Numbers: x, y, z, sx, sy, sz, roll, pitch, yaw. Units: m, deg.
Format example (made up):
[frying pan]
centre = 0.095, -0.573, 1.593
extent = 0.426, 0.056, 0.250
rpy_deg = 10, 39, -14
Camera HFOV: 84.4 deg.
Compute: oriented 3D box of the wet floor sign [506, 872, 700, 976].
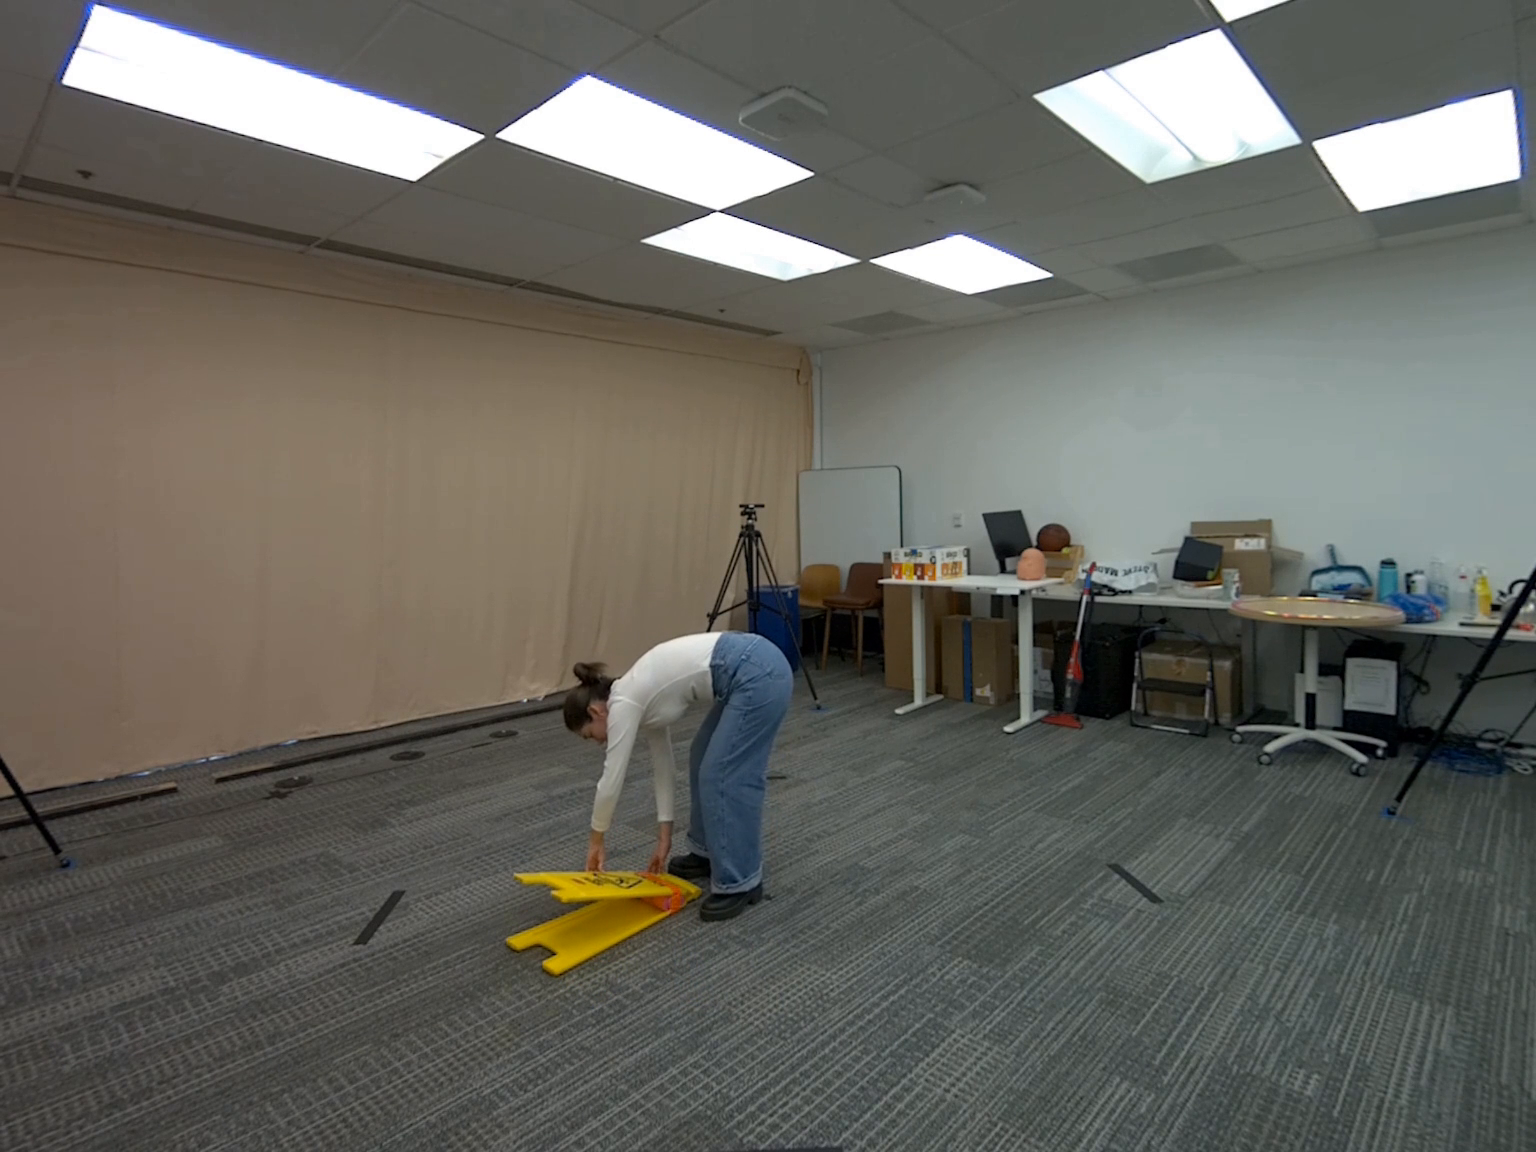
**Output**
[wet floor sign]
centre = -0.517, 1.101, 2.821
extent = 0.292, 0.290, 0.624
rpy_deg = 3, -4, 43
